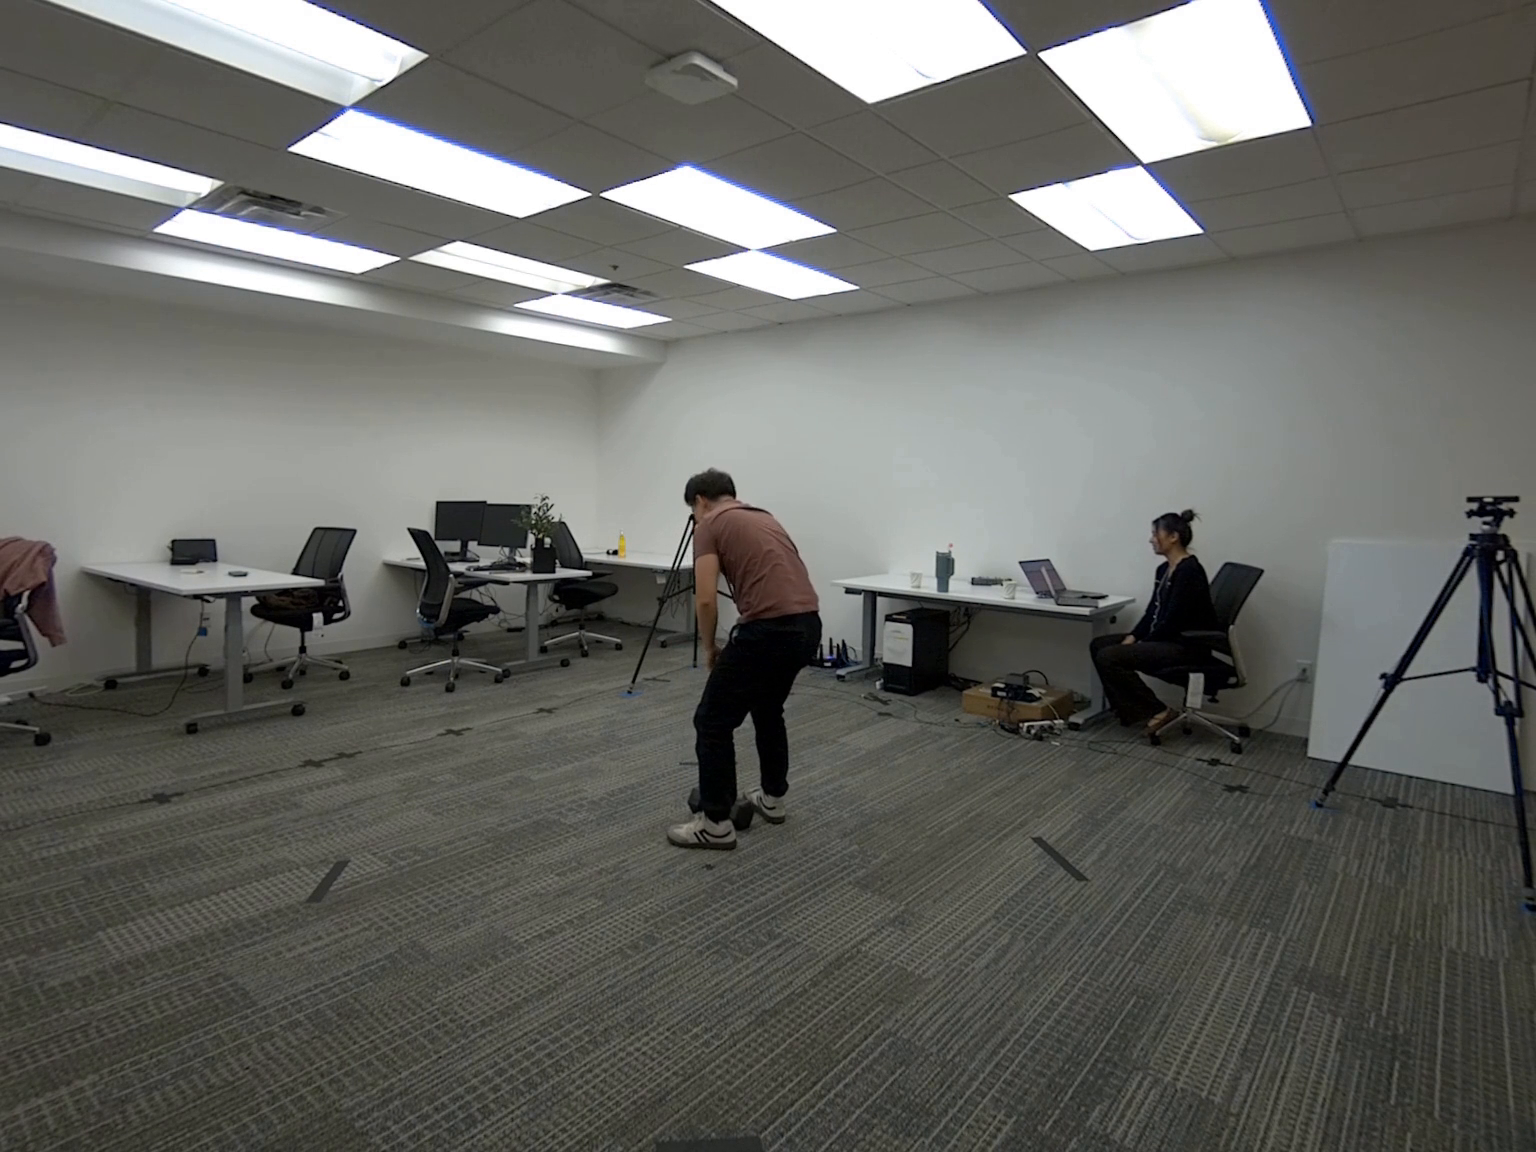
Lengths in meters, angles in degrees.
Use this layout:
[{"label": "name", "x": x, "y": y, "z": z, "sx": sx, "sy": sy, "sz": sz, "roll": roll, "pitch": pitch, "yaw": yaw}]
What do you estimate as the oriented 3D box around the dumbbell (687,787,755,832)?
[{"label": "dumbbell", "x": -0.208, "y": 0.969, "z": 3.568, "sx": 0.303, "sy": 0.124, "sz": 0.104, "roll": 4, "pitch": -26, "yaw": 41}]
